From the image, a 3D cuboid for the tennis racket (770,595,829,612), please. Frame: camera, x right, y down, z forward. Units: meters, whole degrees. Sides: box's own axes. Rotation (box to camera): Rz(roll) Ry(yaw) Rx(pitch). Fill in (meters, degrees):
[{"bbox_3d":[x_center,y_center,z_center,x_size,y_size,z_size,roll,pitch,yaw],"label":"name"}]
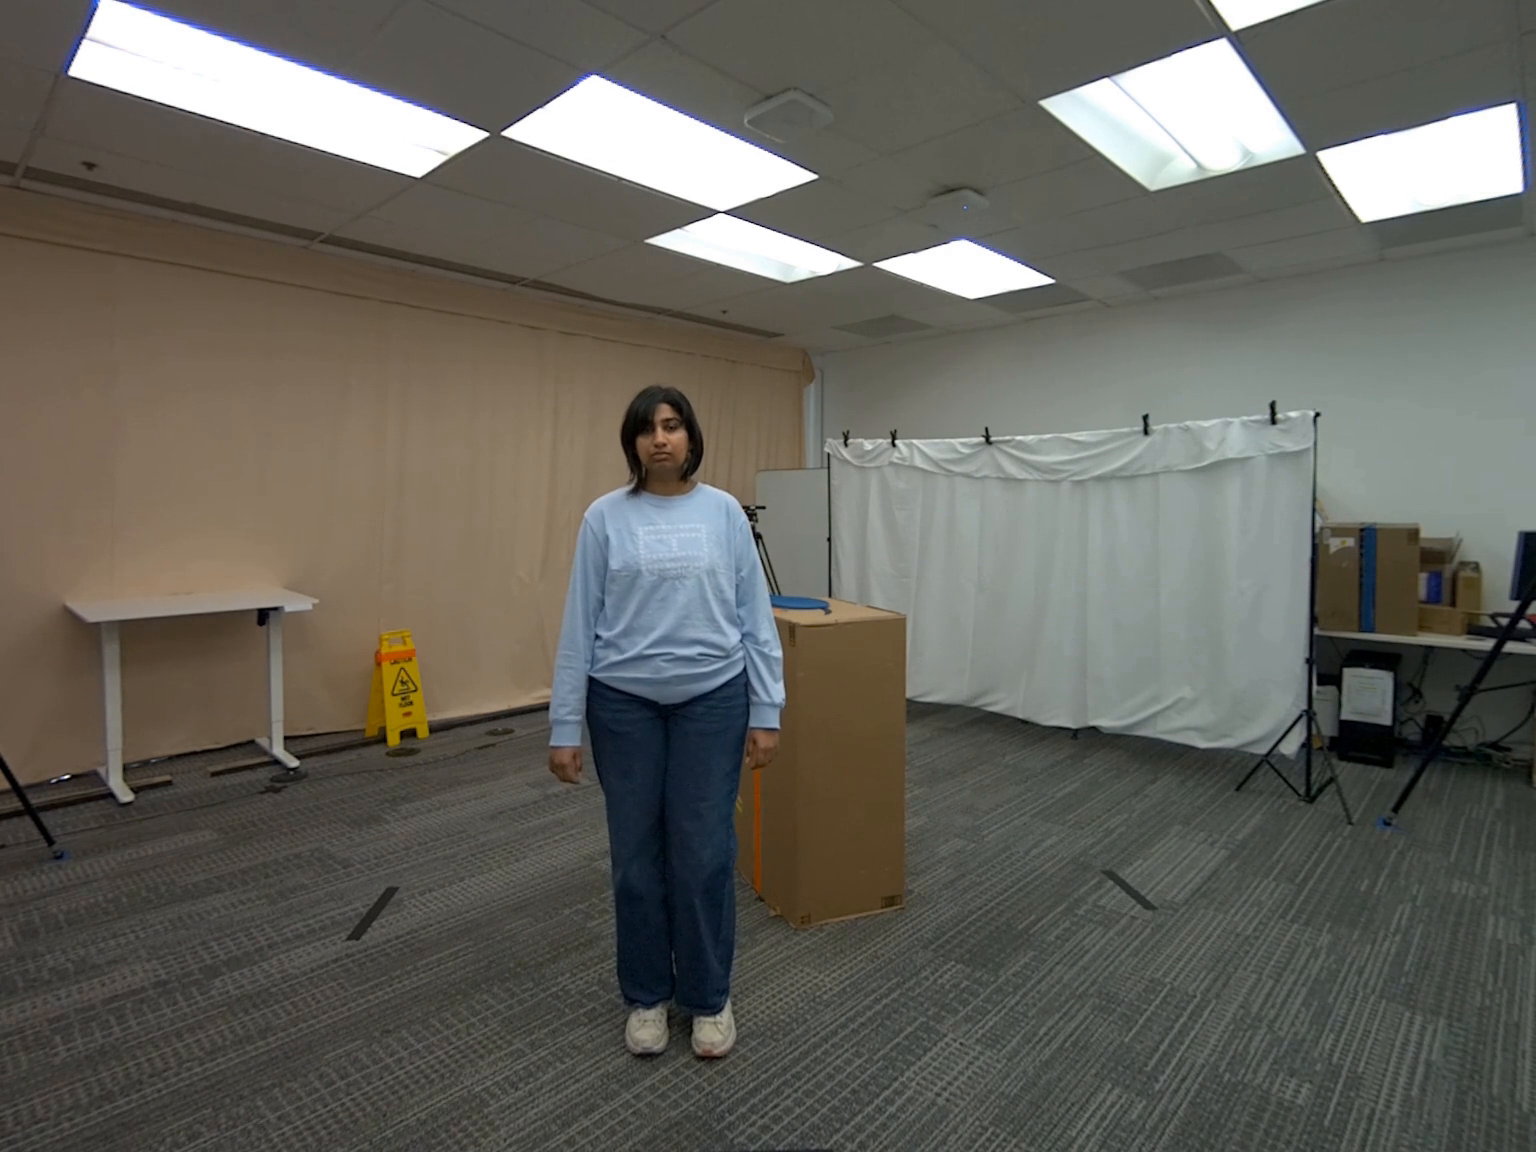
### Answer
[{"bbox_3d":[0.059,0.093,3.175,0.207,0.031,0.448,-4,9,-40],"label":"tennis racket"}]
